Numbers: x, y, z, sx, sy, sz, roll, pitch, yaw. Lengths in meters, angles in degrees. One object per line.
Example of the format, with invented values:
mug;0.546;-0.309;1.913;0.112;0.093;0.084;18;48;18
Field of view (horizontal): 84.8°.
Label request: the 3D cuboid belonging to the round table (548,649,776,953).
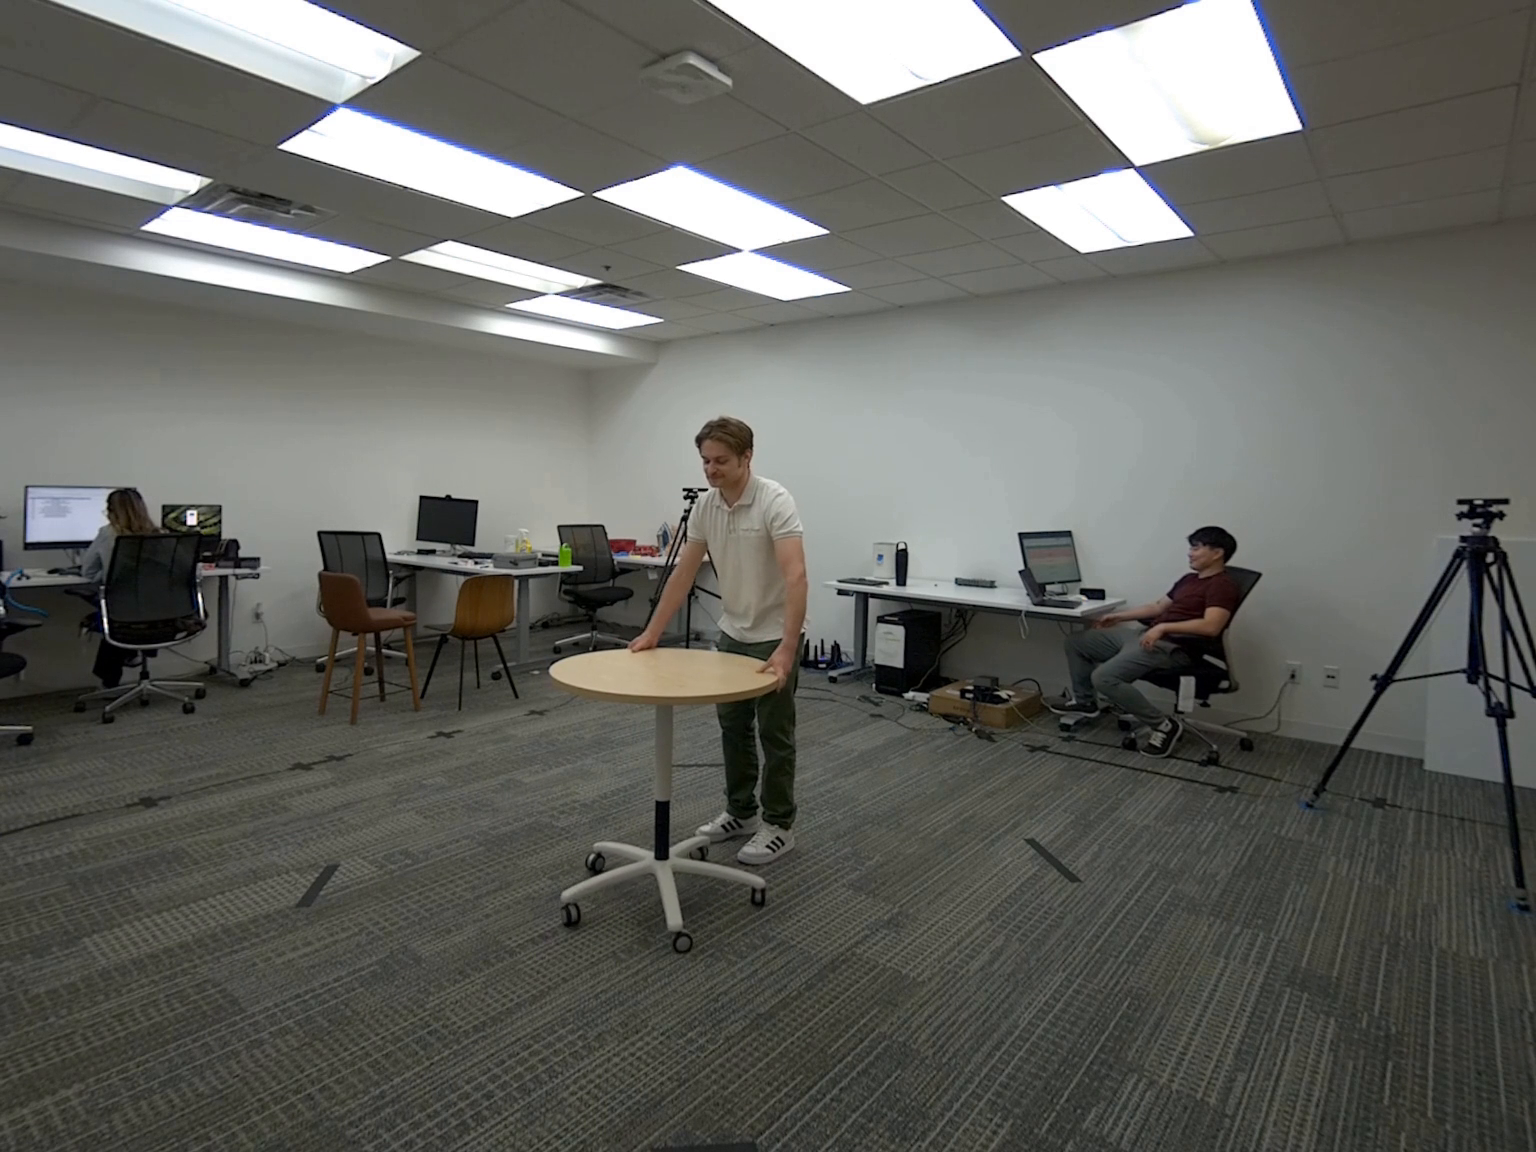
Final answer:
round table;-0.370;0.701;2.857;0.763;0.792;0.767;1;4;-2
